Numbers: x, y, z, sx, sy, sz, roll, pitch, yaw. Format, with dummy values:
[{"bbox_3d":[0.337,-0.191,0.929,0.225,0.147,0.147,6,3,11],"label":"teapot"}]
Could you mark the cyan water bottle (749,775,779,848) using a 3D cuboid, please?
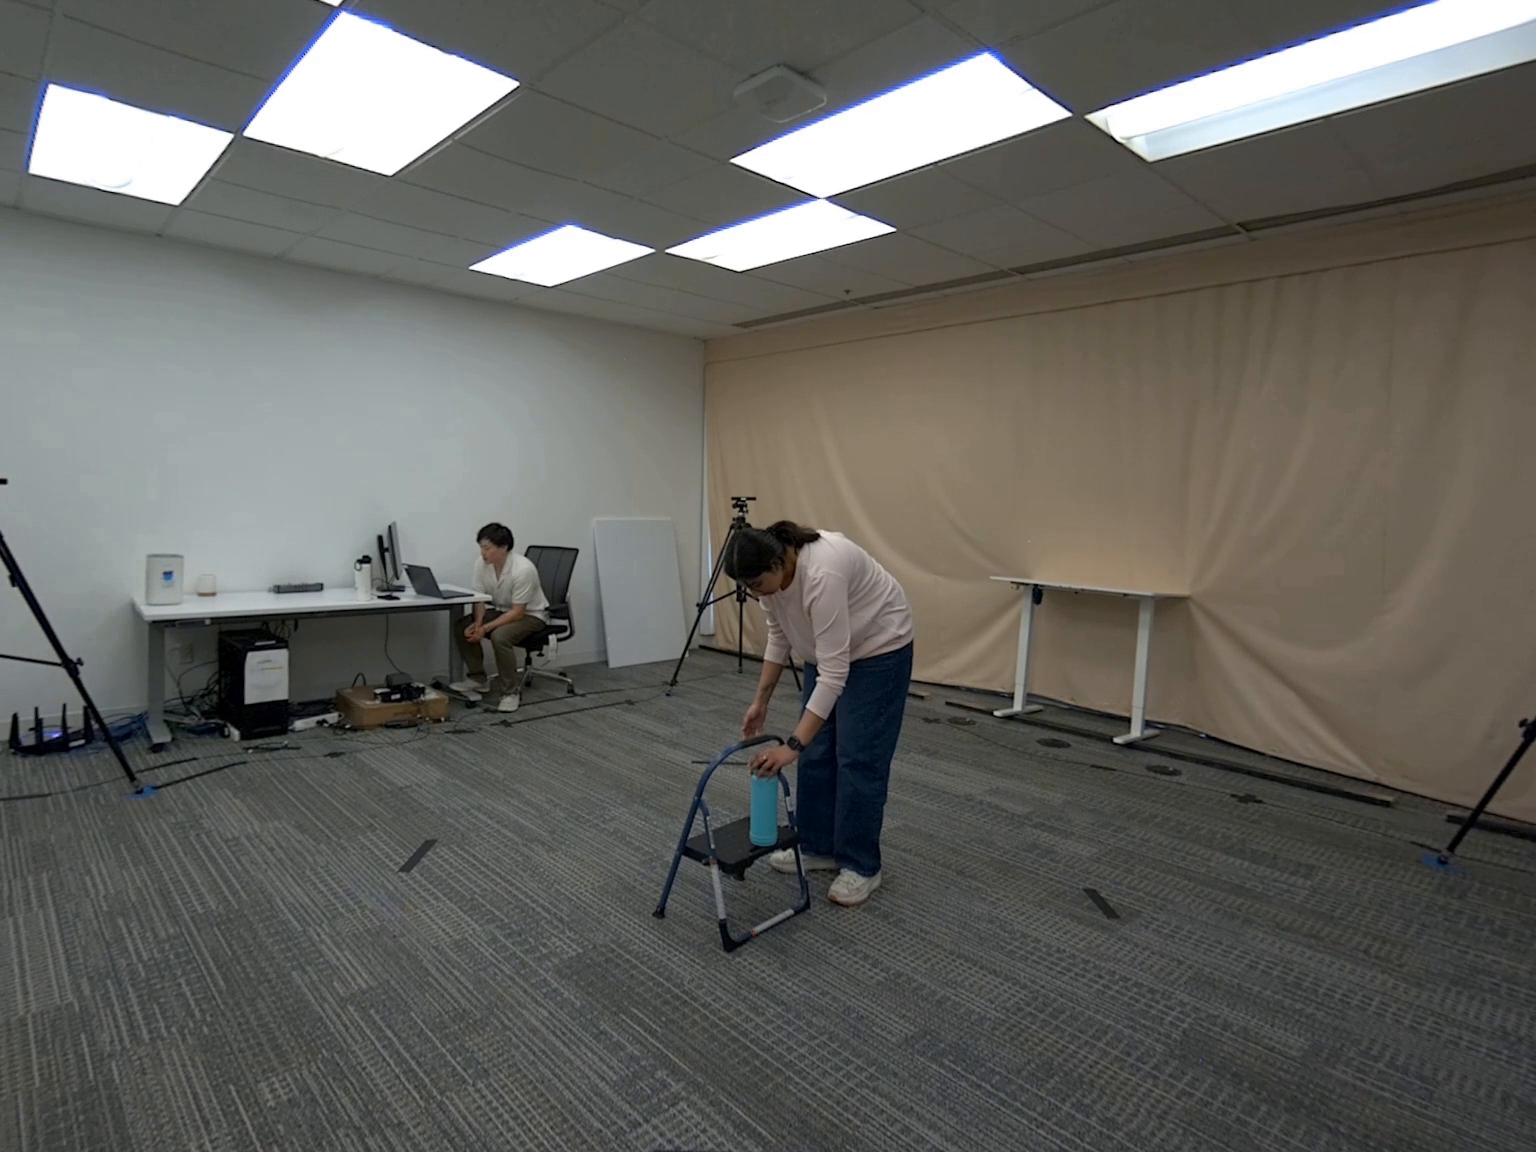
[{"bbox_3d":[-0.021,0.743,2.771,0.092,0.283,0.092,2,3,-1],"label":"cyan water bottle"}]
